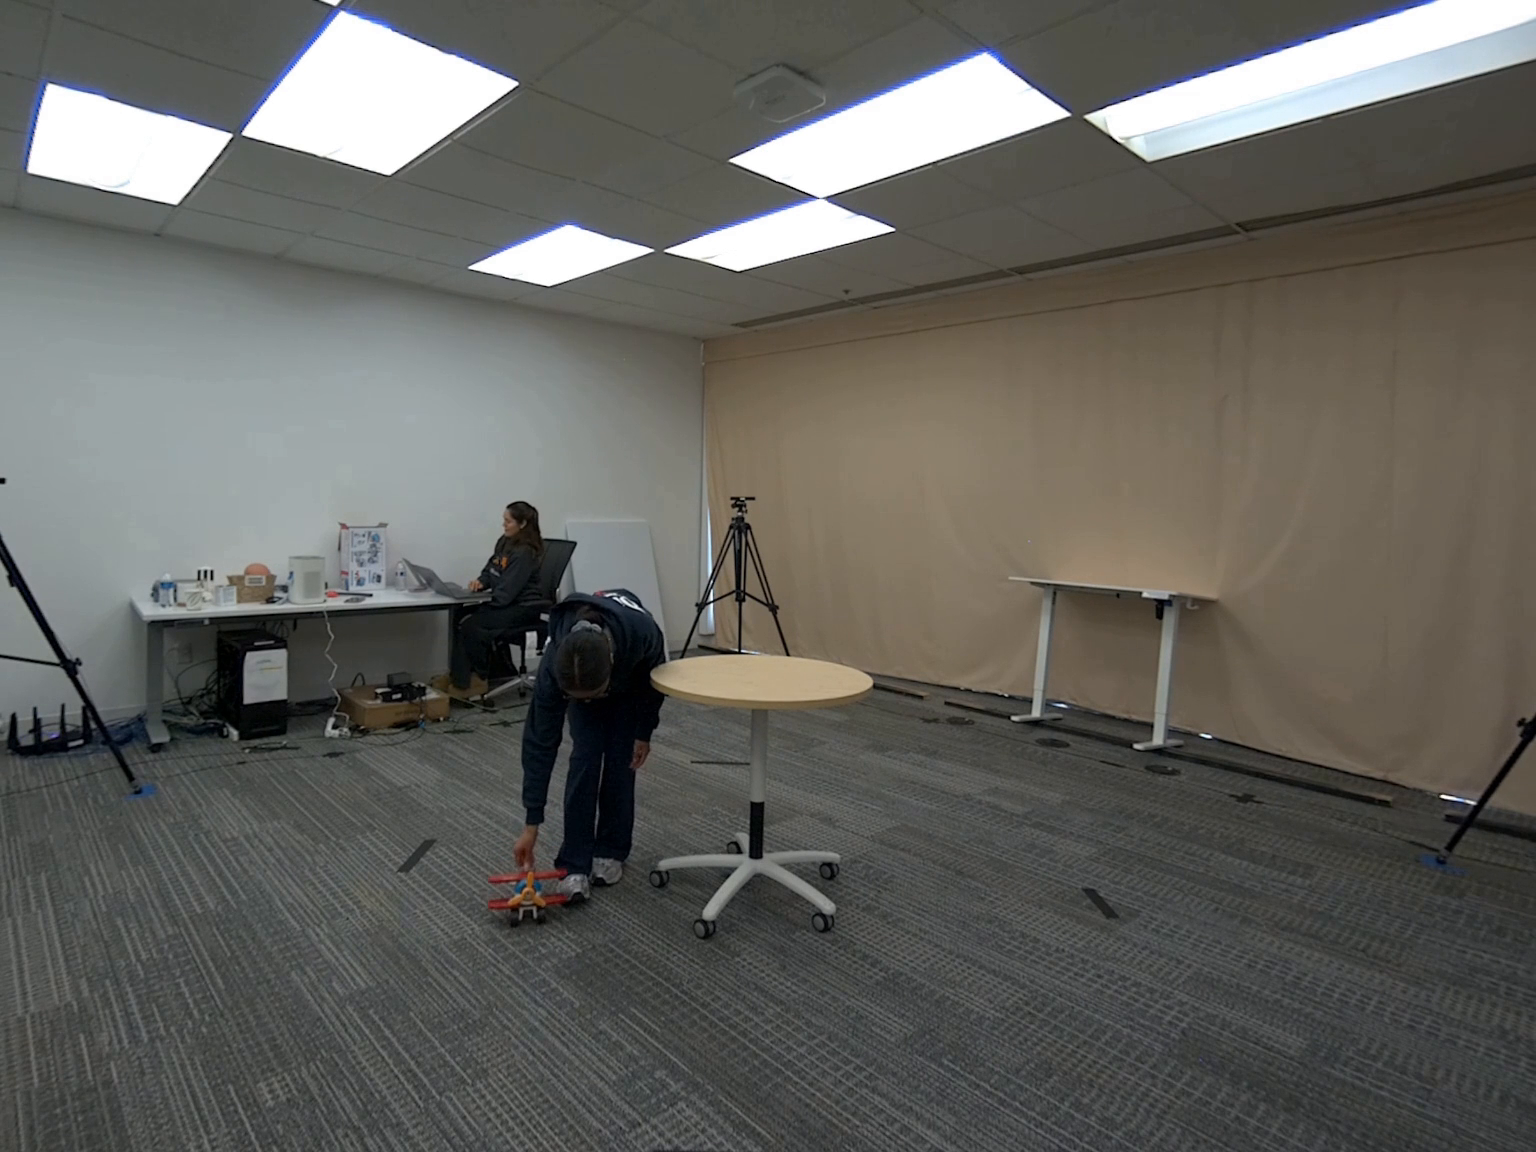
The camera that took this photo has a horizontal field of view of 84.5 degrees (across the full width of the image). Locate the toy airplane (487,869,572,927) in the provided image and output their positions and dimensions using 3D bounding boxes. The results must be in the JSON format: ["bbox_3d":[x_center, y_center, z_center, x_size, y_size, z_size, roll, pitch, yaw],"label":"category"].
[{"bbox_3d":[-0.822,1.050,2.789,0.266,0.156,0.245,5,5,44],"label":"toy airplane"}]
